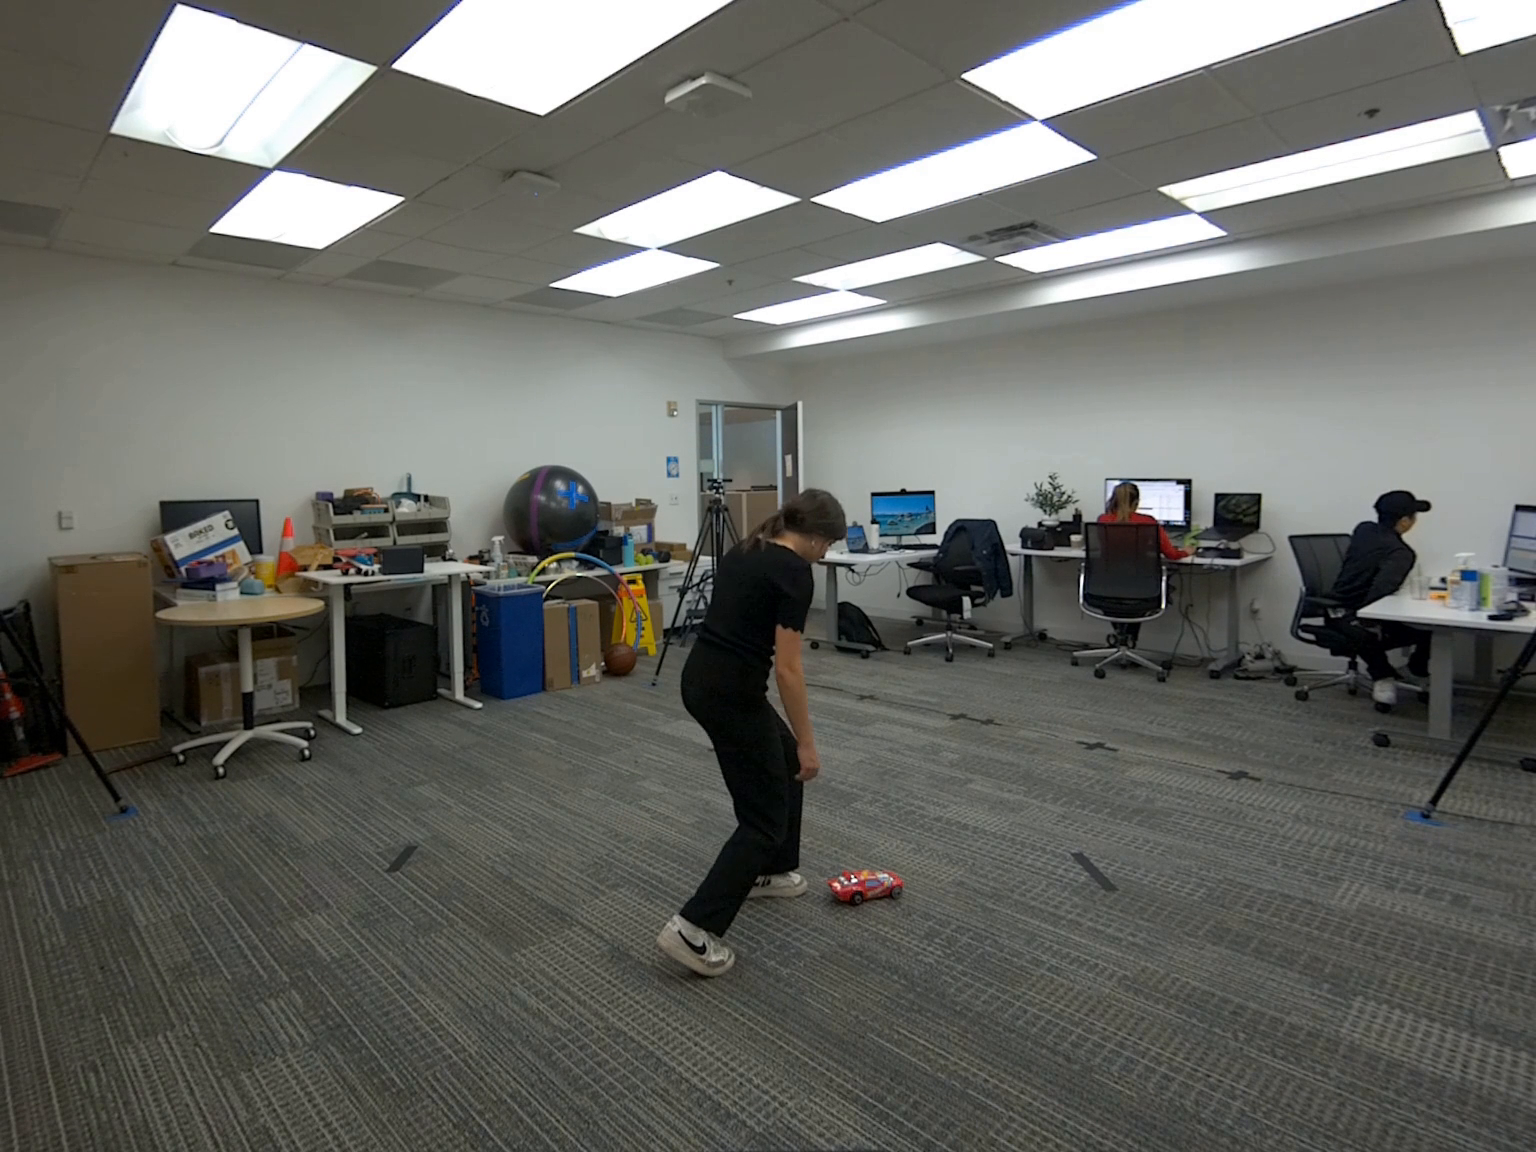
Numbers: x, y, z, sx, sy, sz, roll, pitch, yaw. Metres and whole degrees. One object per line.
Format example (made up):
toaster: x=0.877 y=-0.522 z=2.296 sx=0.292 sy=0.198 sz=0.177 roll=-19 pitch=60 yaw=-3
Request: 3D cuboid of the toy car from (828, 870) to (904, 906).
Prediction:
toy car: x=0.318 y=1.031 z=2.846 sx=0.250 sy=0.083 sz=0.133 roll=9 pitch=3 yaw=-18
